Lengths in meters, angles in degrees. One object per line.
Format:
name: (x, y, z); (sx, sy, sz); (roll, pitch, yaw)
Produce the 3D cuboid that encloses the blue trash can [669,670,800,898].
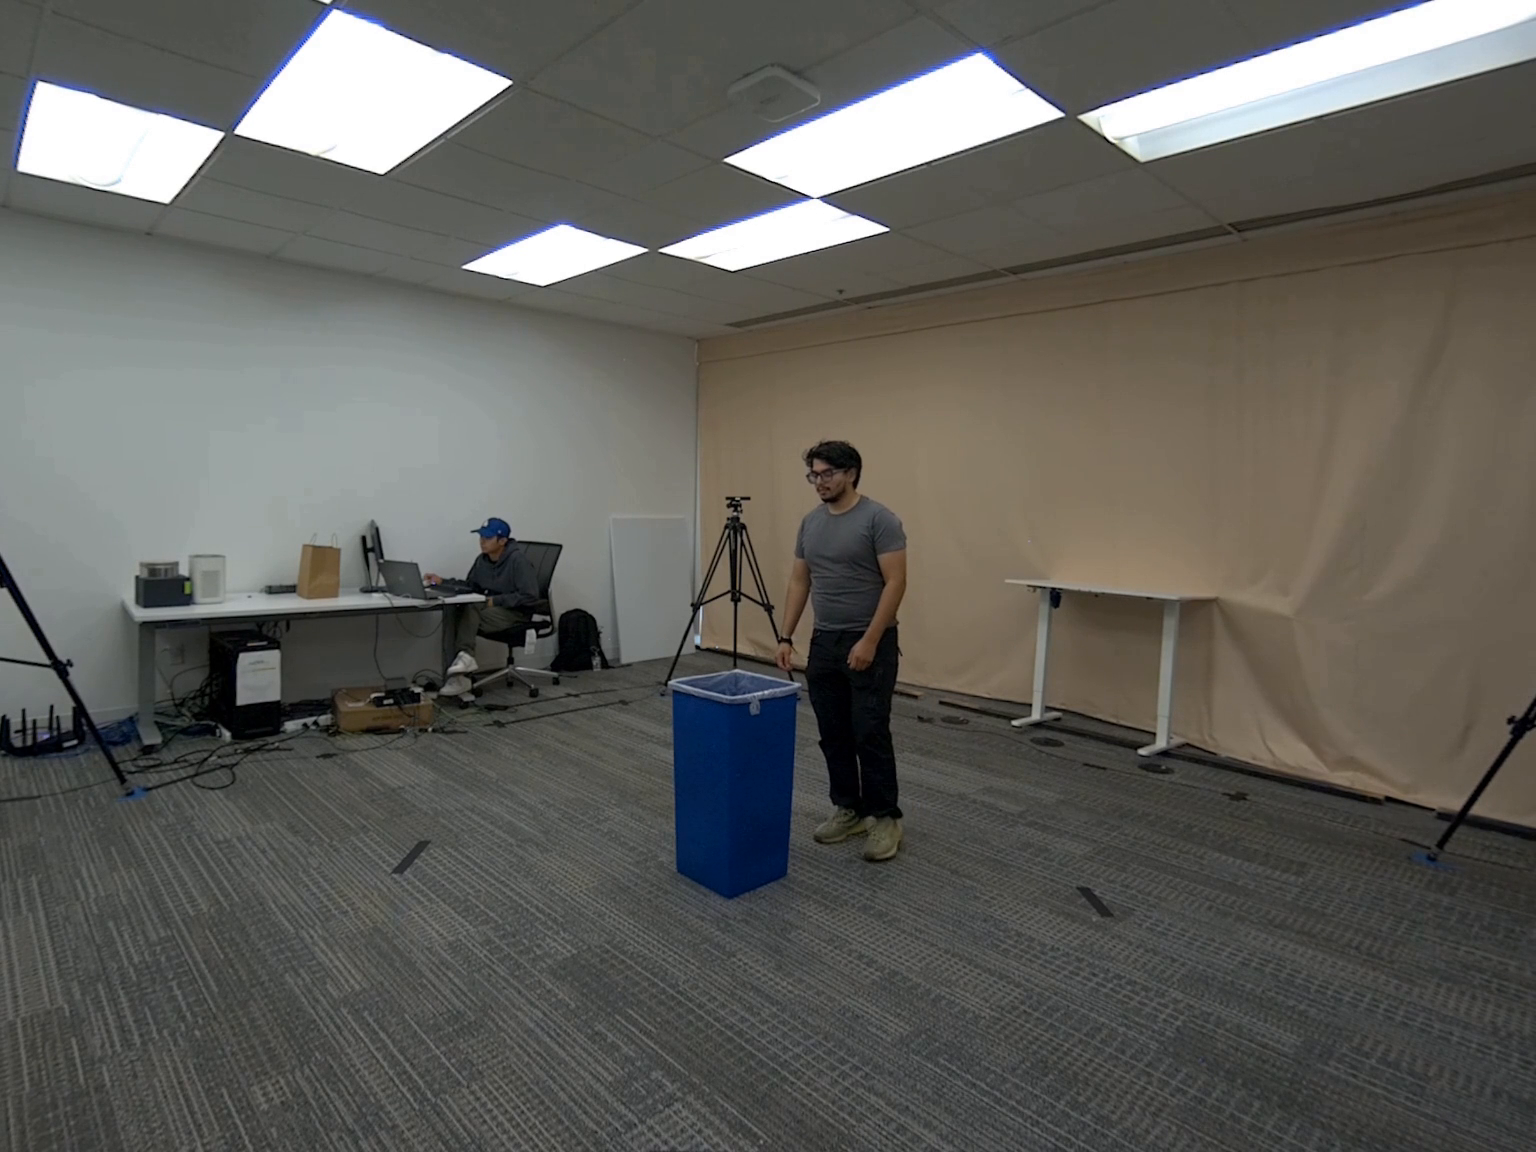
blue trash can: (-0.137, 0.750, 3.105); (0.387, 0.712, 0.365); (4, 3, 45)
